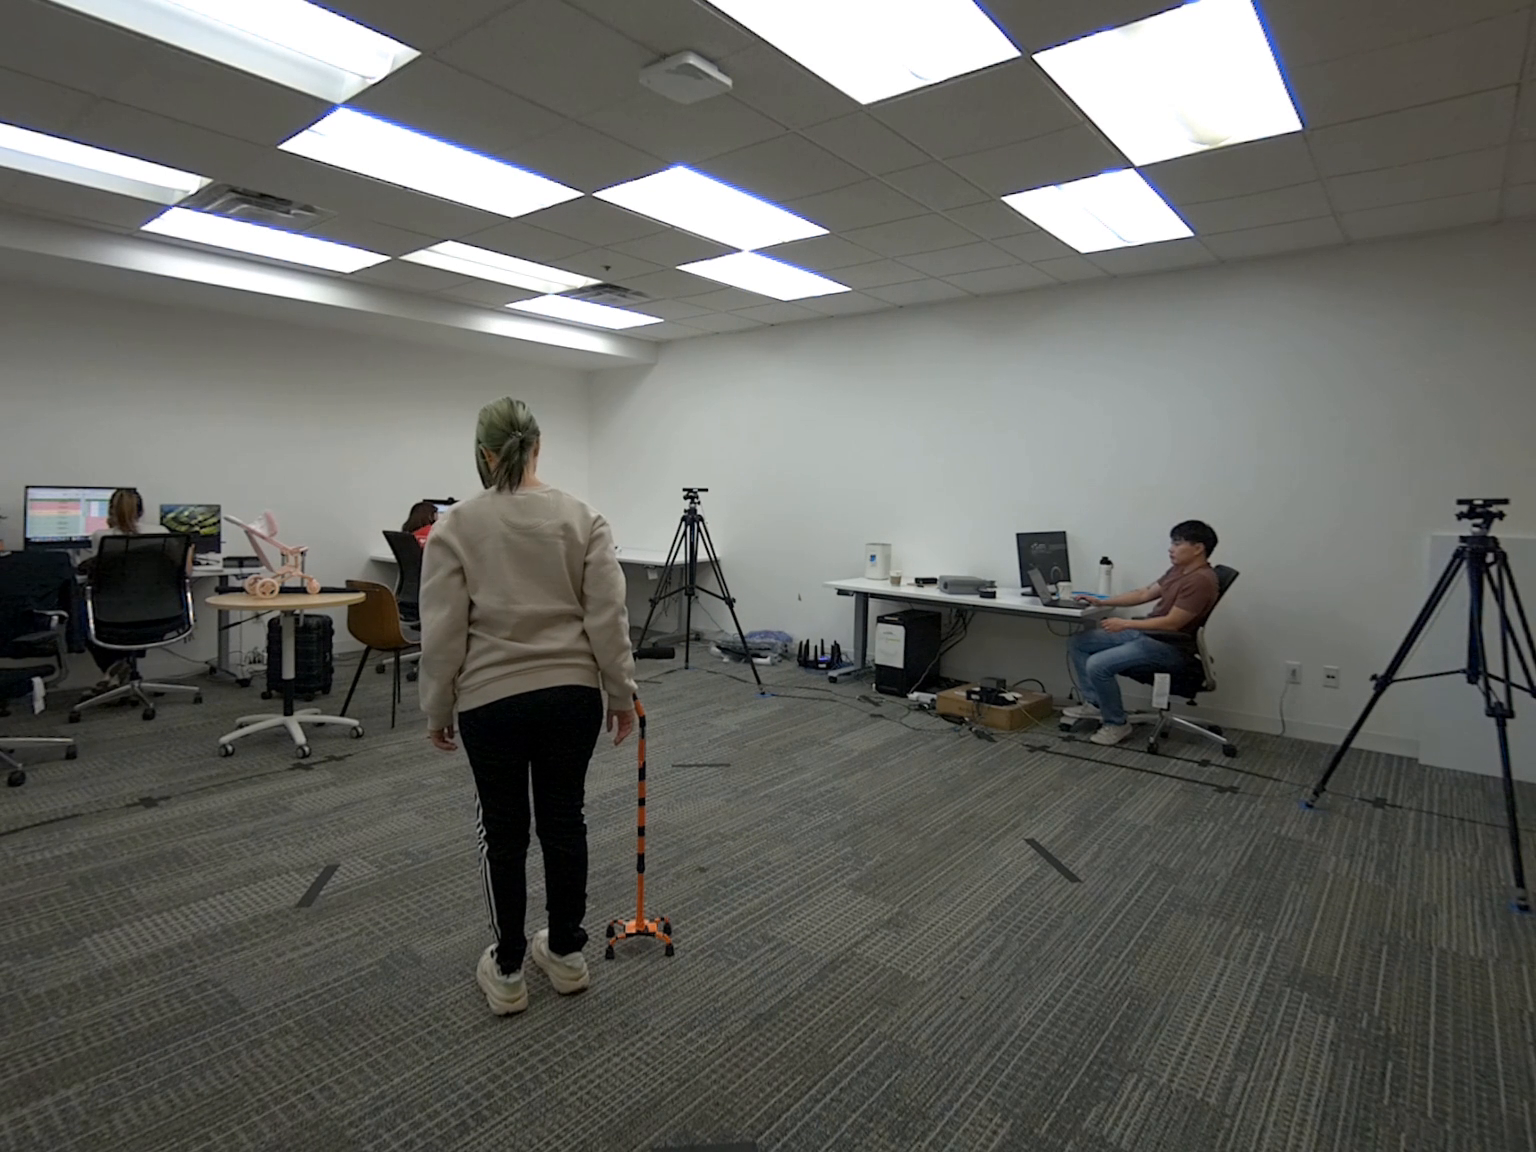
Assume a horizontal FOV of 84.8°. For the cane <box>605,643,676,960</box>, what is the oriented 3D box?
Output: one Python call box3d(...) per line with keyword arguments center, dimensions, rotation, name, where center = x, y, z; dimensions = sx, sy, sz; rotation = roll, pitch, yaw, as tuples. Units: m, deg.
box3d(center=(-0.391, 0.670, 2.555), dimensions=(0.205, 0.904, 0.153), rotation=(0, 4, -9), name="cane")
